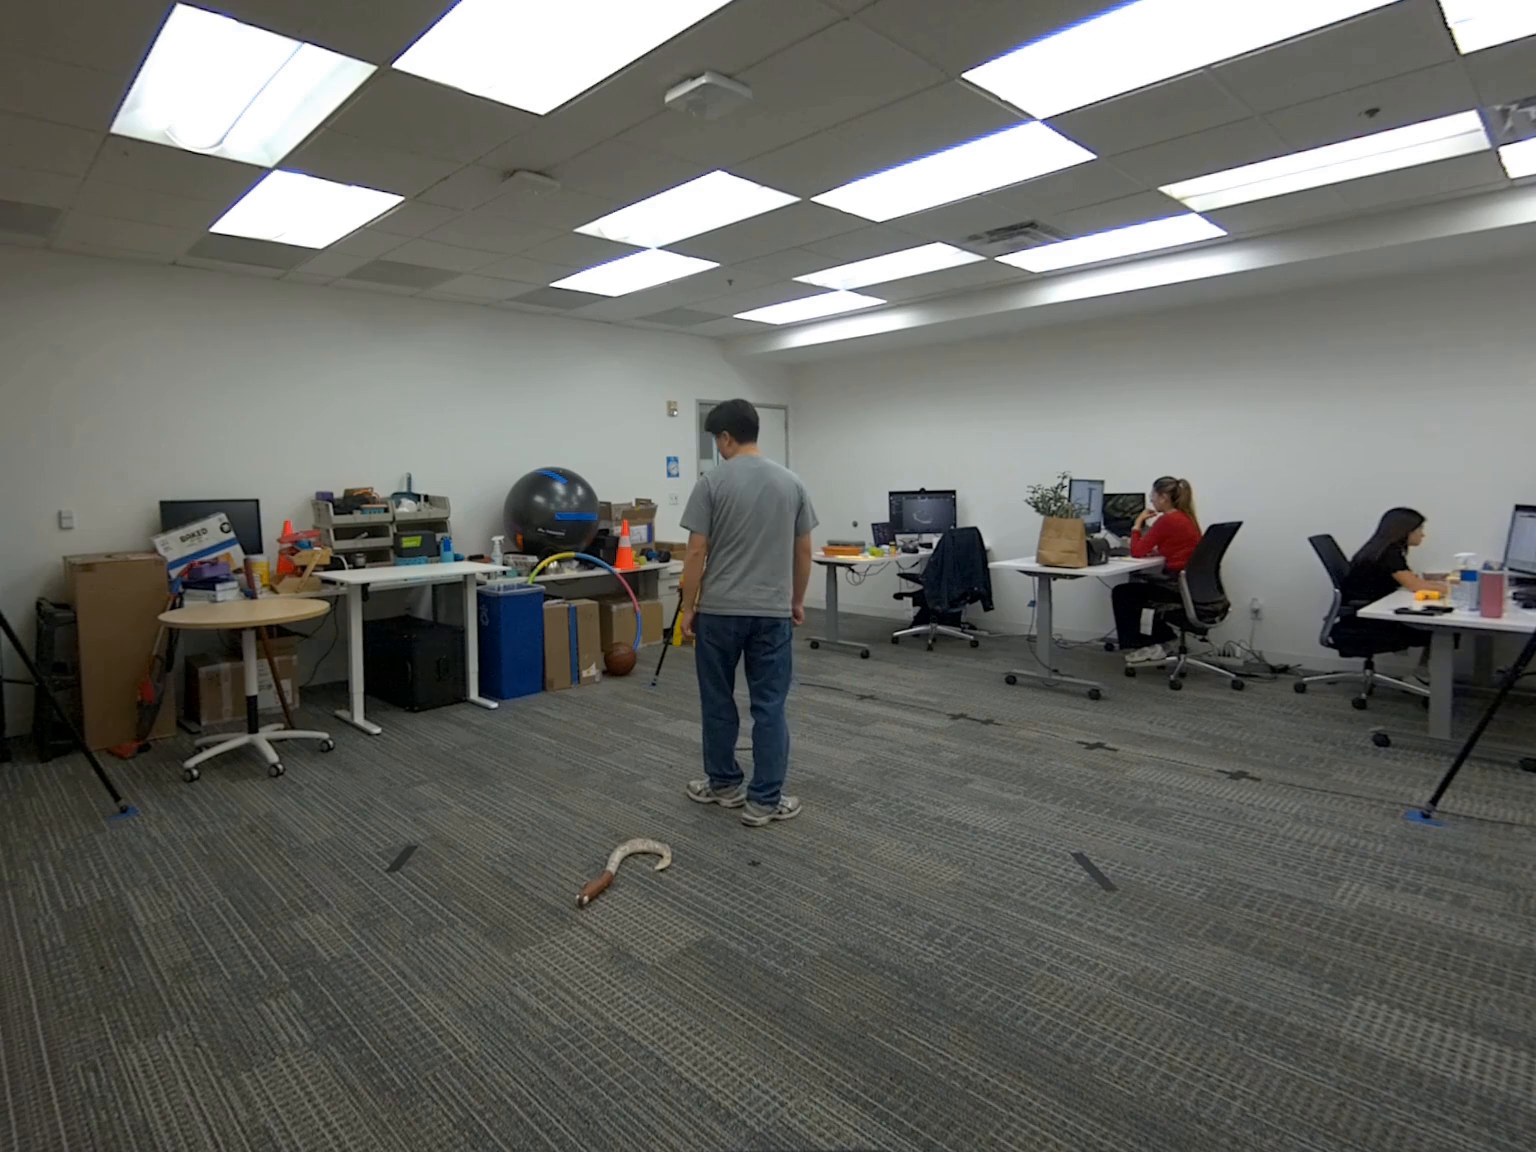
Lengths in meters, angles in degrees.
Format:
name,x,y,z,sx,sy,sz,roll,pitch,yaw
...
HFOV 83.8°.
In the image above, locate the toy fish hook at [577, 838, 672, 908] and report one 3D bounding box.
name,x,y,z,sx,sy,sz,roll,pitch,yaw
toy fish hook,-0.493,1.040,3.009,0.228,0.048,0.501,0,7,17
